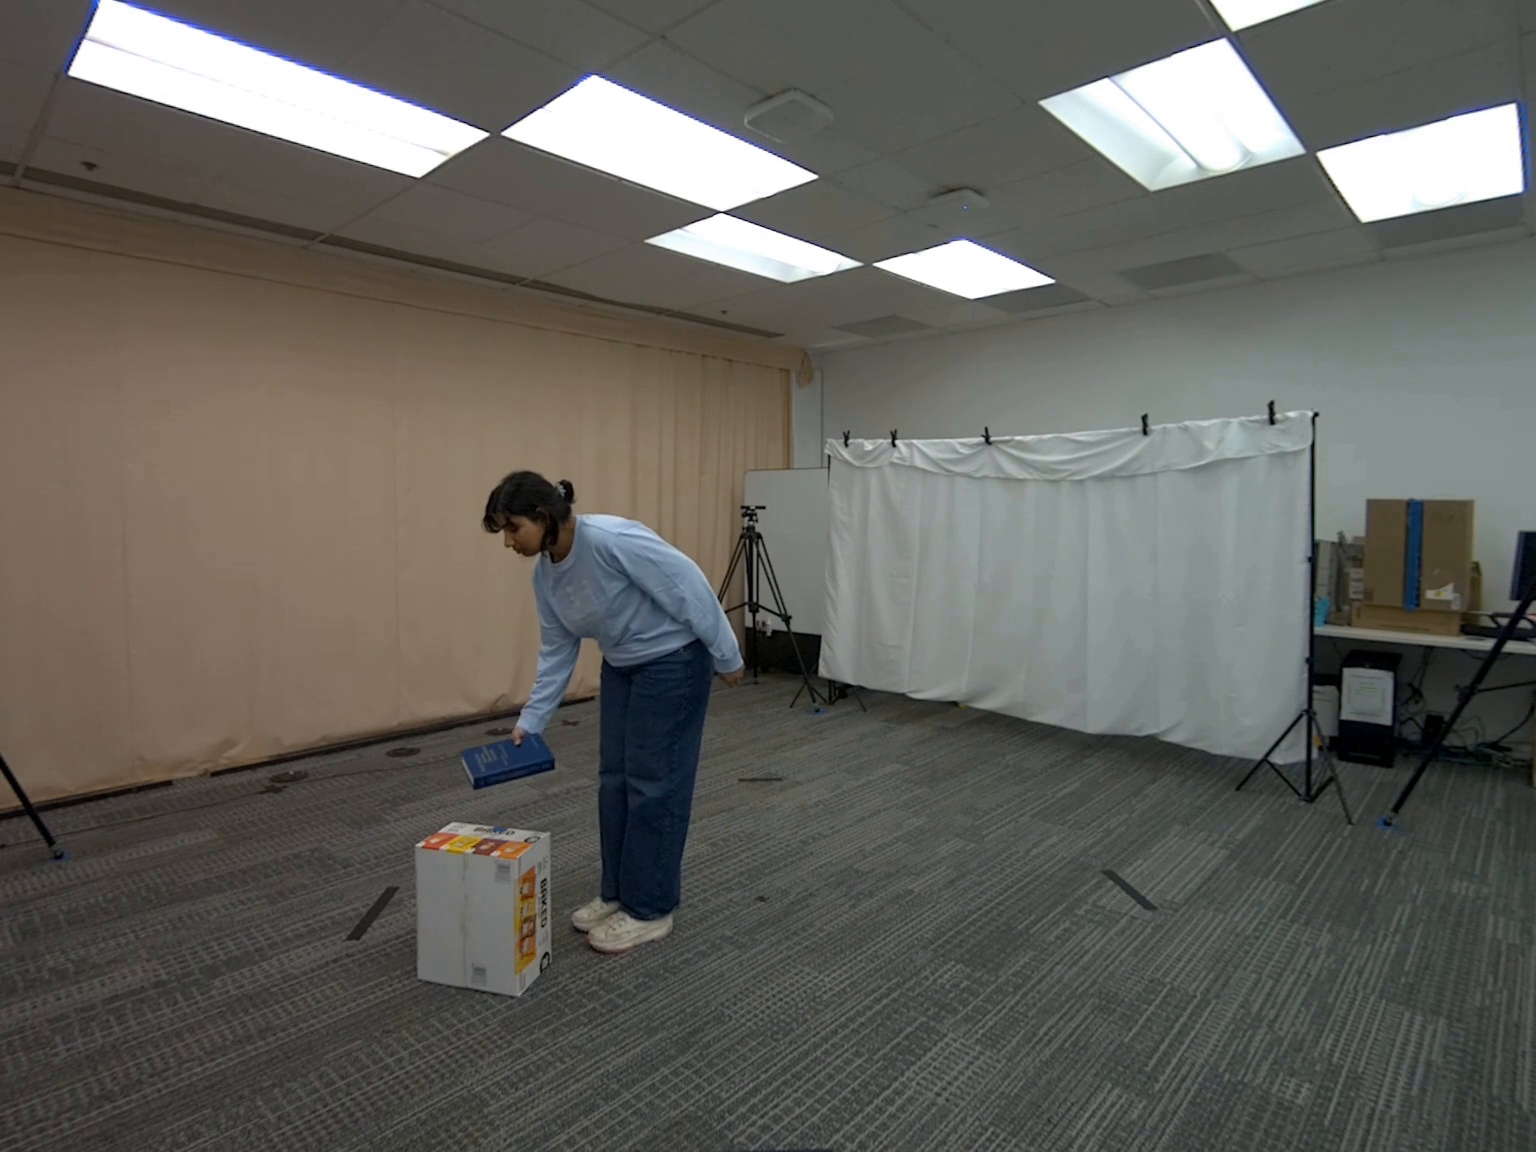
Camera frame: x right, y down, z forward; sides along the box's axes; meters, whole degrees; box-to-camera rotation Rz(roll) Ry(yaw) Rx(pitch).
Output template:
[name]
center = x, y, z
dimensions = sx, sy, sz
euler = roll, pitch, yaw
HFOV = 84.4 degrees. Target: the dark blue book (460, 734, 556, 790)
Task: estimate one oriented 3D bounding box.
[dark blue book]
center = -0.785, 0.553, 2.537
dimensions = 0.239, 0.045, 0.169
euler = -8, 21, -29
